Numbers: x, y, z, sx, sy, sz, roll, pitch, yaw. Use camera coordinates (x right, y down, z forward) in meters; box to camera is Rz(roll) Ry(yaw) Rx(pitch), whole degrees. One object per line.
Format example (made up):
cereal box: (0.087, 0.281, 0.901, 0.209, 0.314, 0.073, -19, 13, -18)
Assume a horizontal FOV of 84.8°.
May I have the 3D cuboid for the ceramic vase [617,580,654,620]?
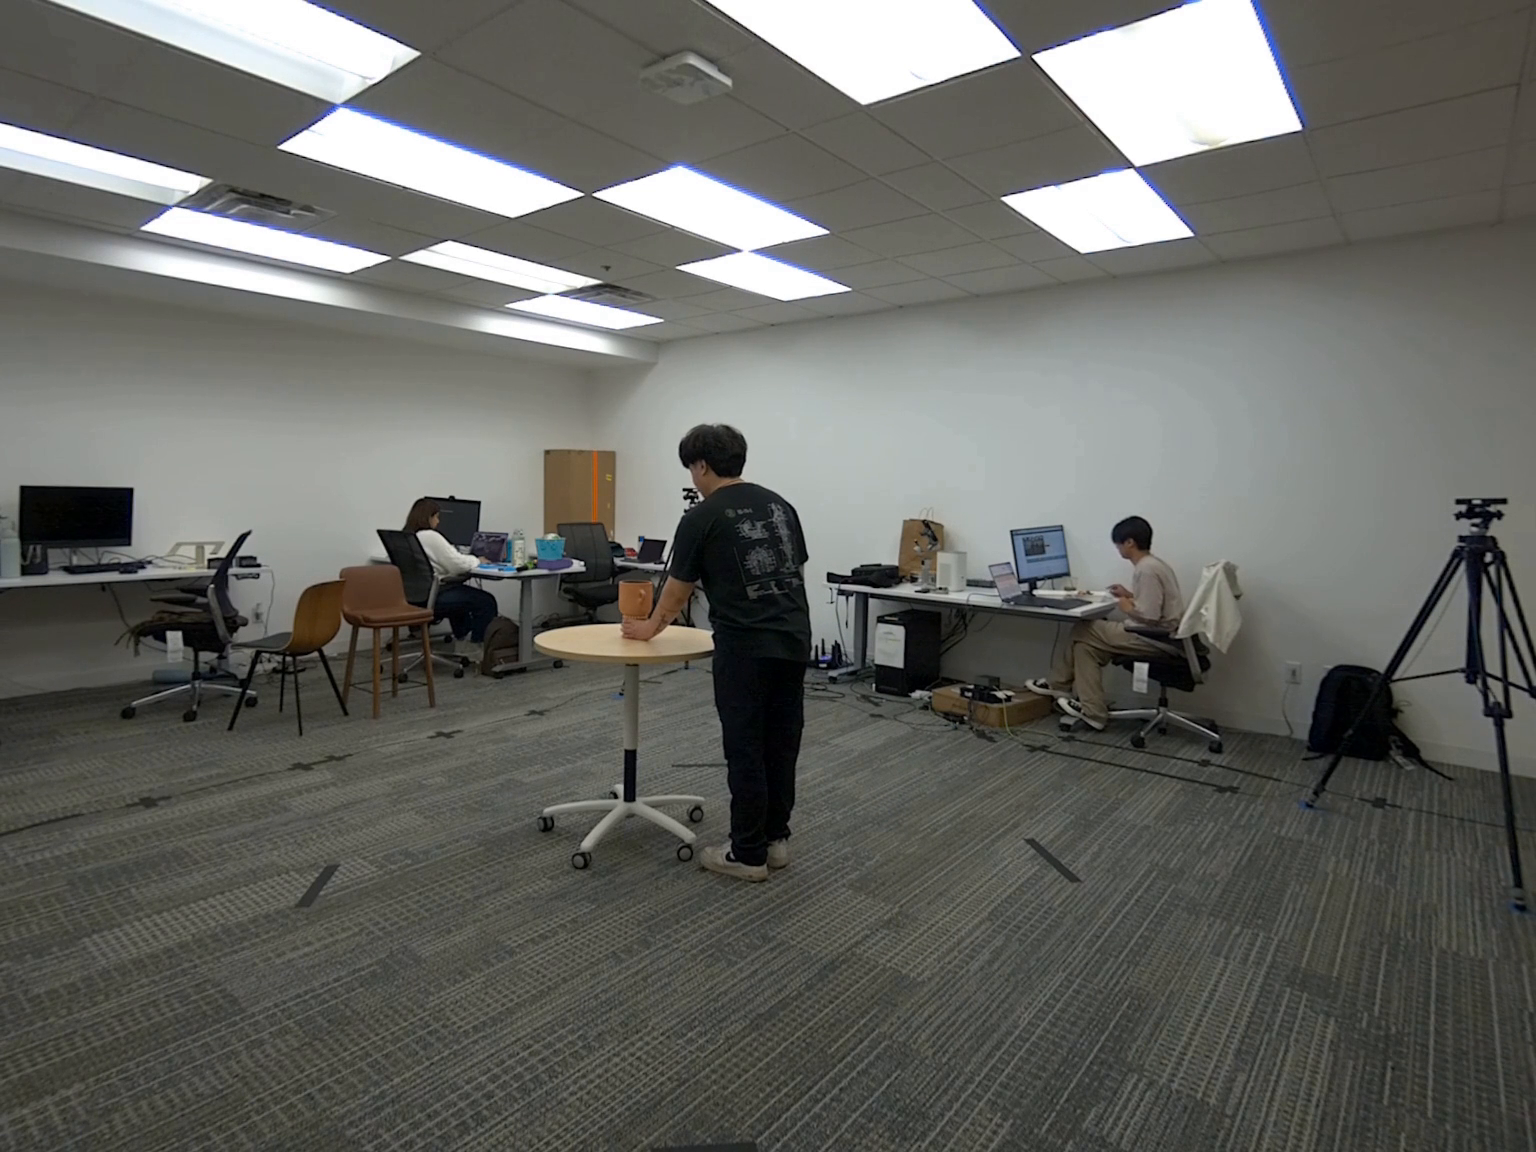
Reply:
ceramic vase: (-0.553, 0.132, 3.418, 0.137, 0.219, 0.157, 0, 2, 13)
